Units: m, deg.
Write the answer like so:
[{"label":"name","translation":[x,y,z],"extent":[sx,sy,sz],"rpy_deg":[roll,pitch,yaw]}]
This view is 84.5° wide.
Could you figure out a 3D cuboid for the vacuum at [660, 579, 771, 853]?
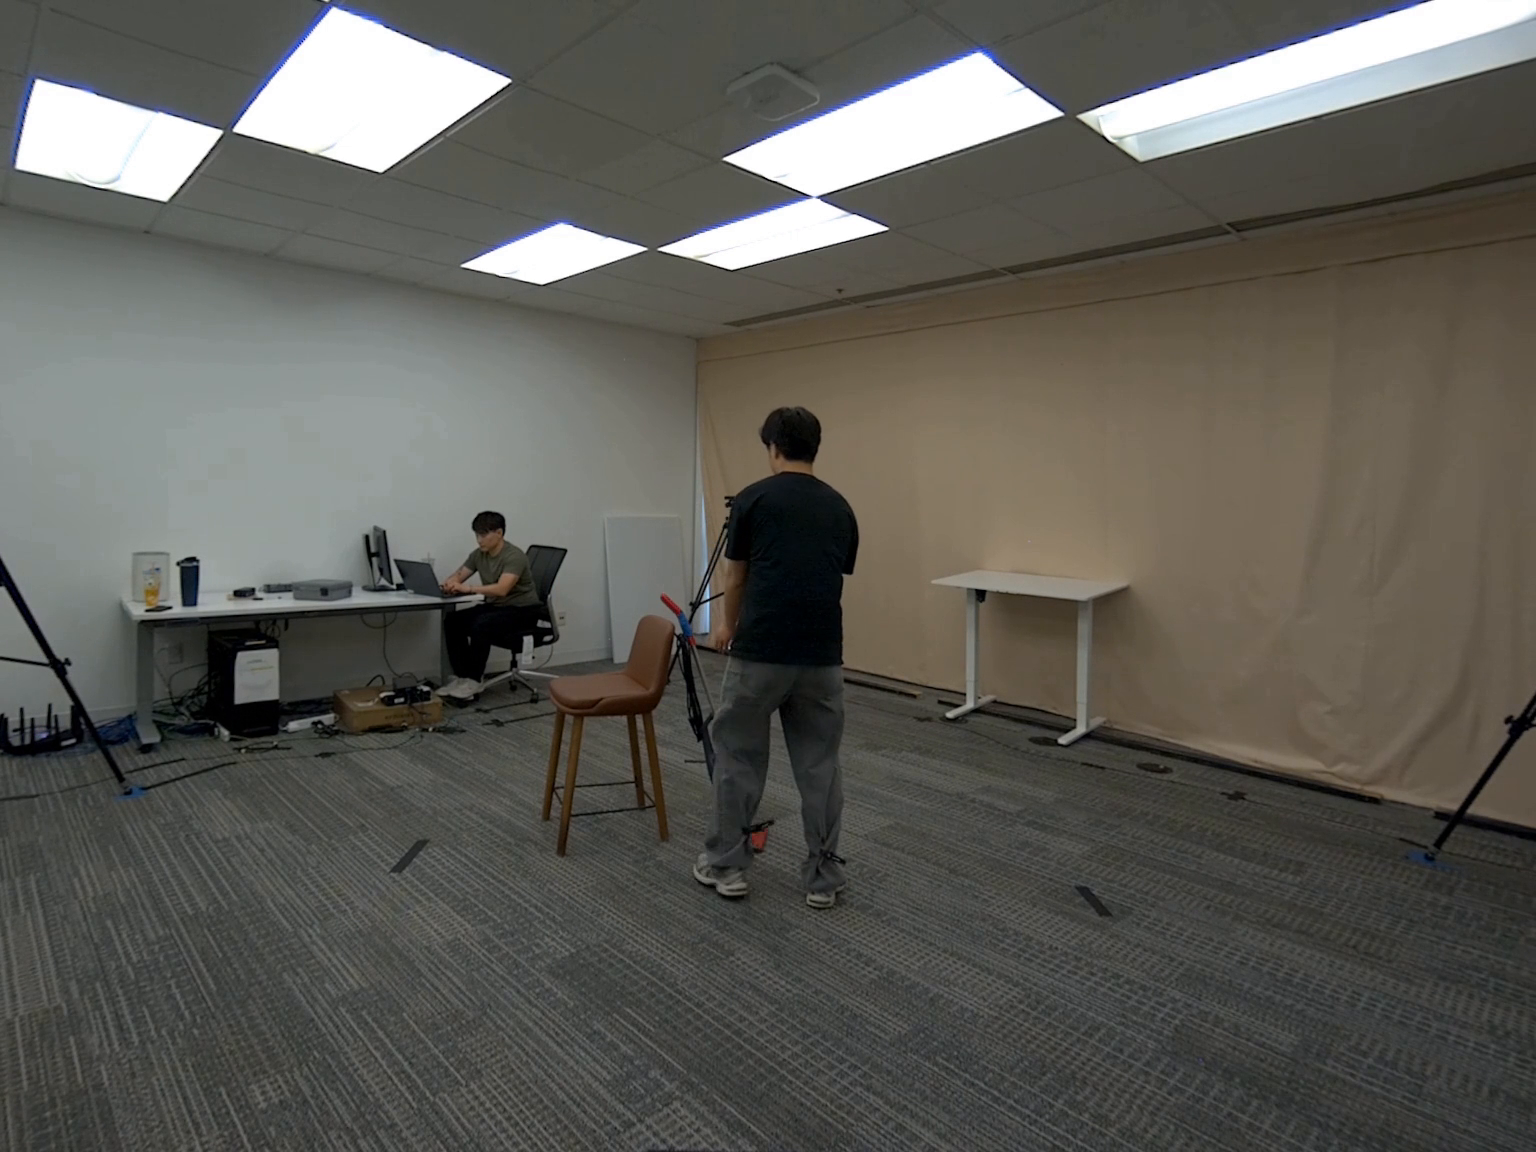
[{"label":"vacuum","translation":[-0.264,0.577,3.445],"extent":[0.144,1.050,0.252],"rpy_deg":[-19,0,4]}]
